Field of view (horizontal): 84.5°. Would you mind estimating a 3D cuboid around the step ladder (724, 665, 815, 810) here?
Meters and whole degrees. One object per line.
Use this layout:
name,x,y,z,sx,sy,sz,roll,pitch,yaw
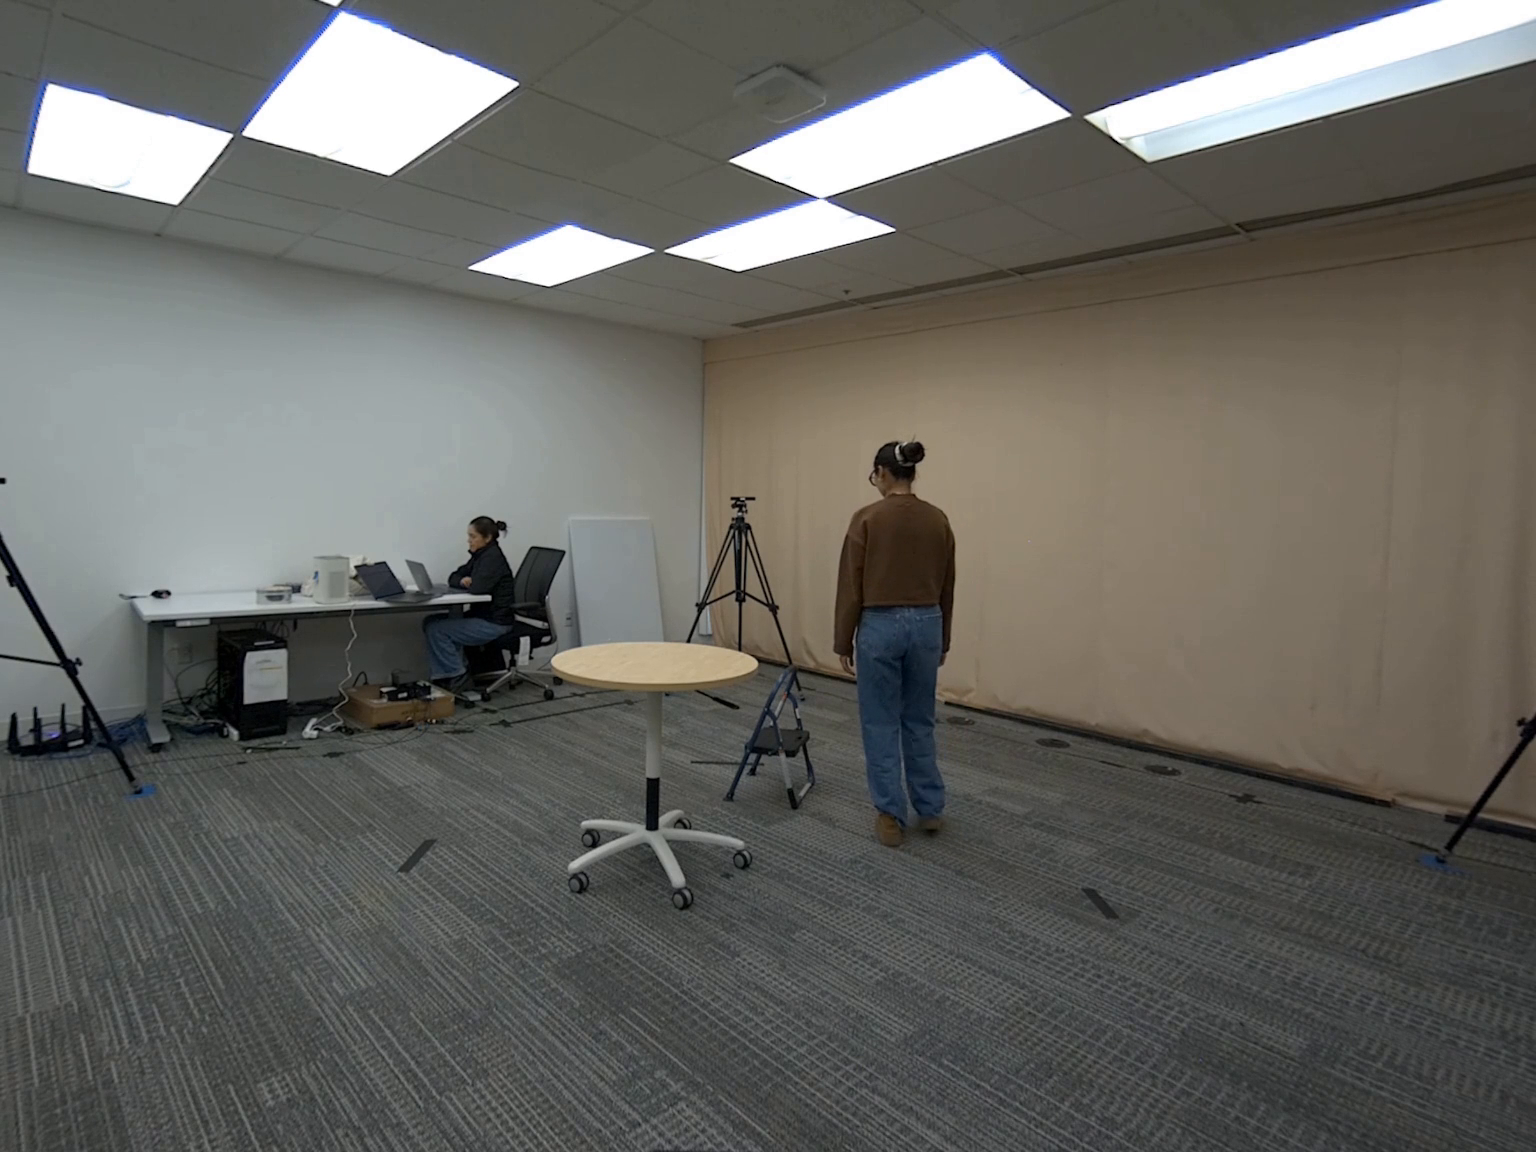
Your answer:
step ladder,0.015,0.730,4.028,0.354,0.605,0.426,2,4,16
